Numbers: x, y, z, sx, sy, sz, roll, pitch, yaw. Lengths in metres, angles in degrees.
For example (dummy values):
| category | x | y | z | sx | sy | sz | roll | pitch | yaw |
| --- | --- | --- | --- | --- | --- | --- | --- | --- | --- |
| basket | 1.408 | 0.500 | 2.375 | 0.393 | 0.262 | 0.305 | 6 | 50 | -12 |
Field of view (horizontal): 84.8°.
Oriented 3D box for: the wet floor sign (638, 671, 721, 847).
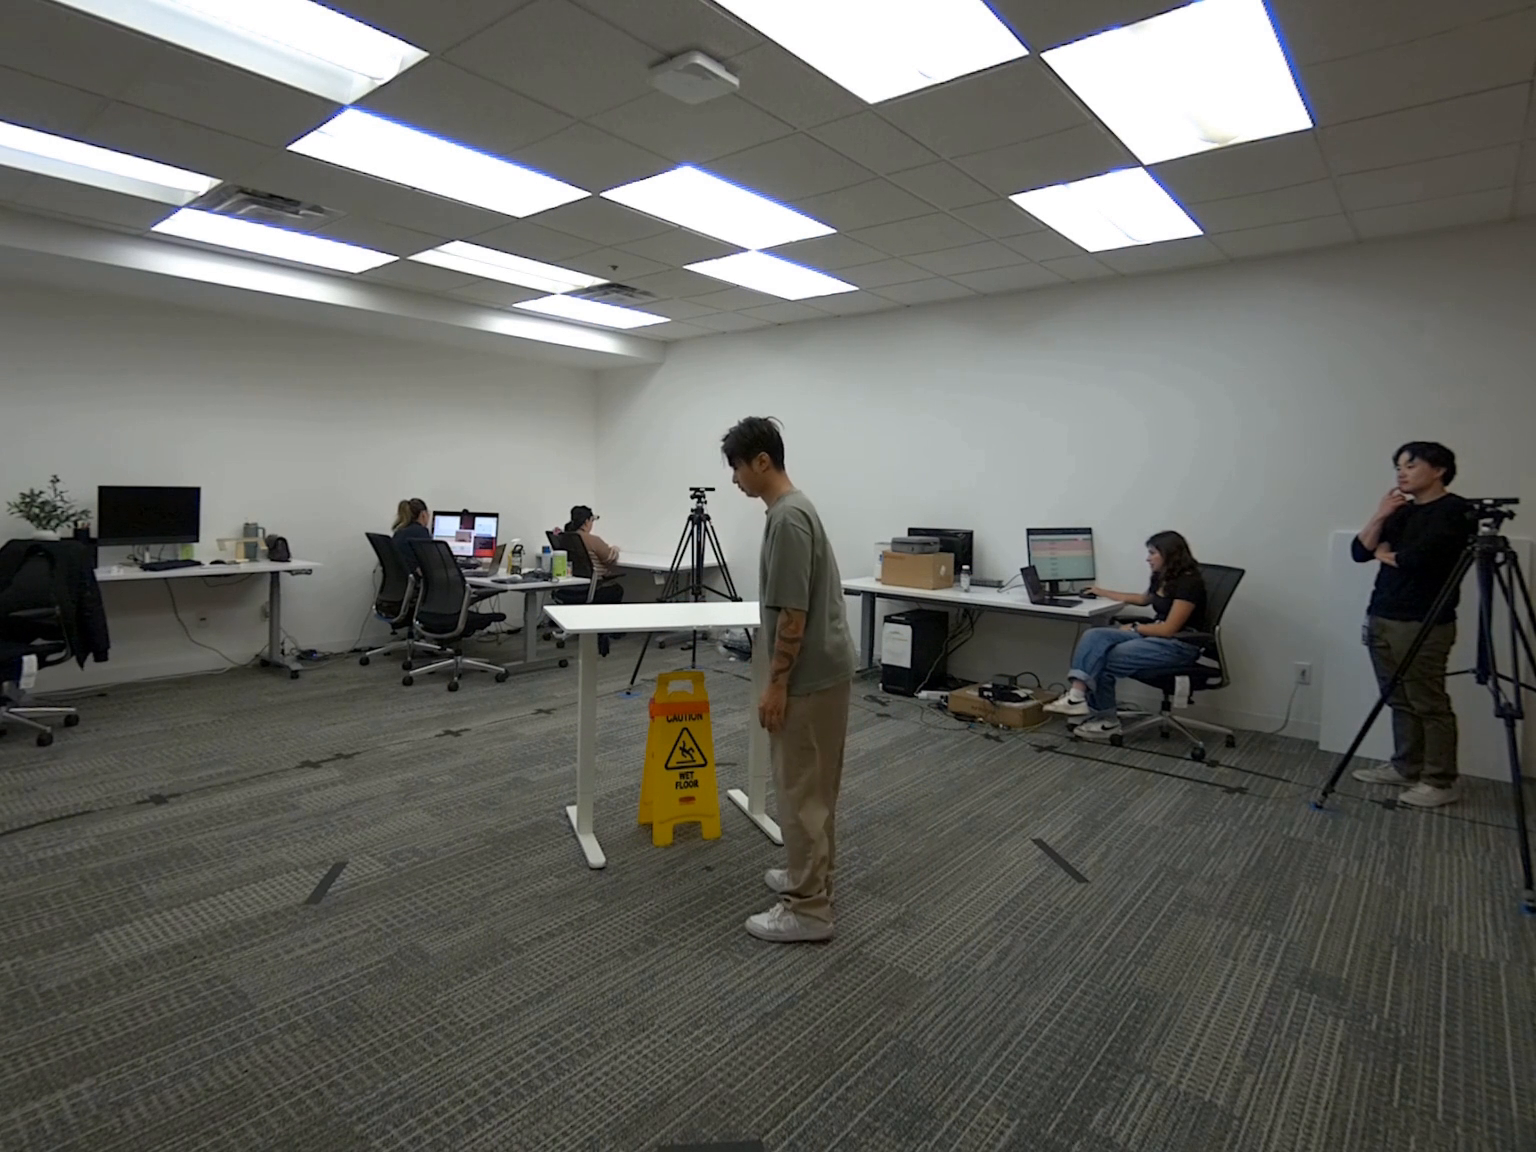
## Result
| category | x | y | z | sx | sy | sz | roll | pitch | yaw |
| --- | --- | --- | --- | --- | --- | --- | --- | --- | --- |
| wet floor sign | -0.365 | 0.715 | 3.449 | 0.276 | 0.645 | 0.296 | 2 | 2 | -22 |
